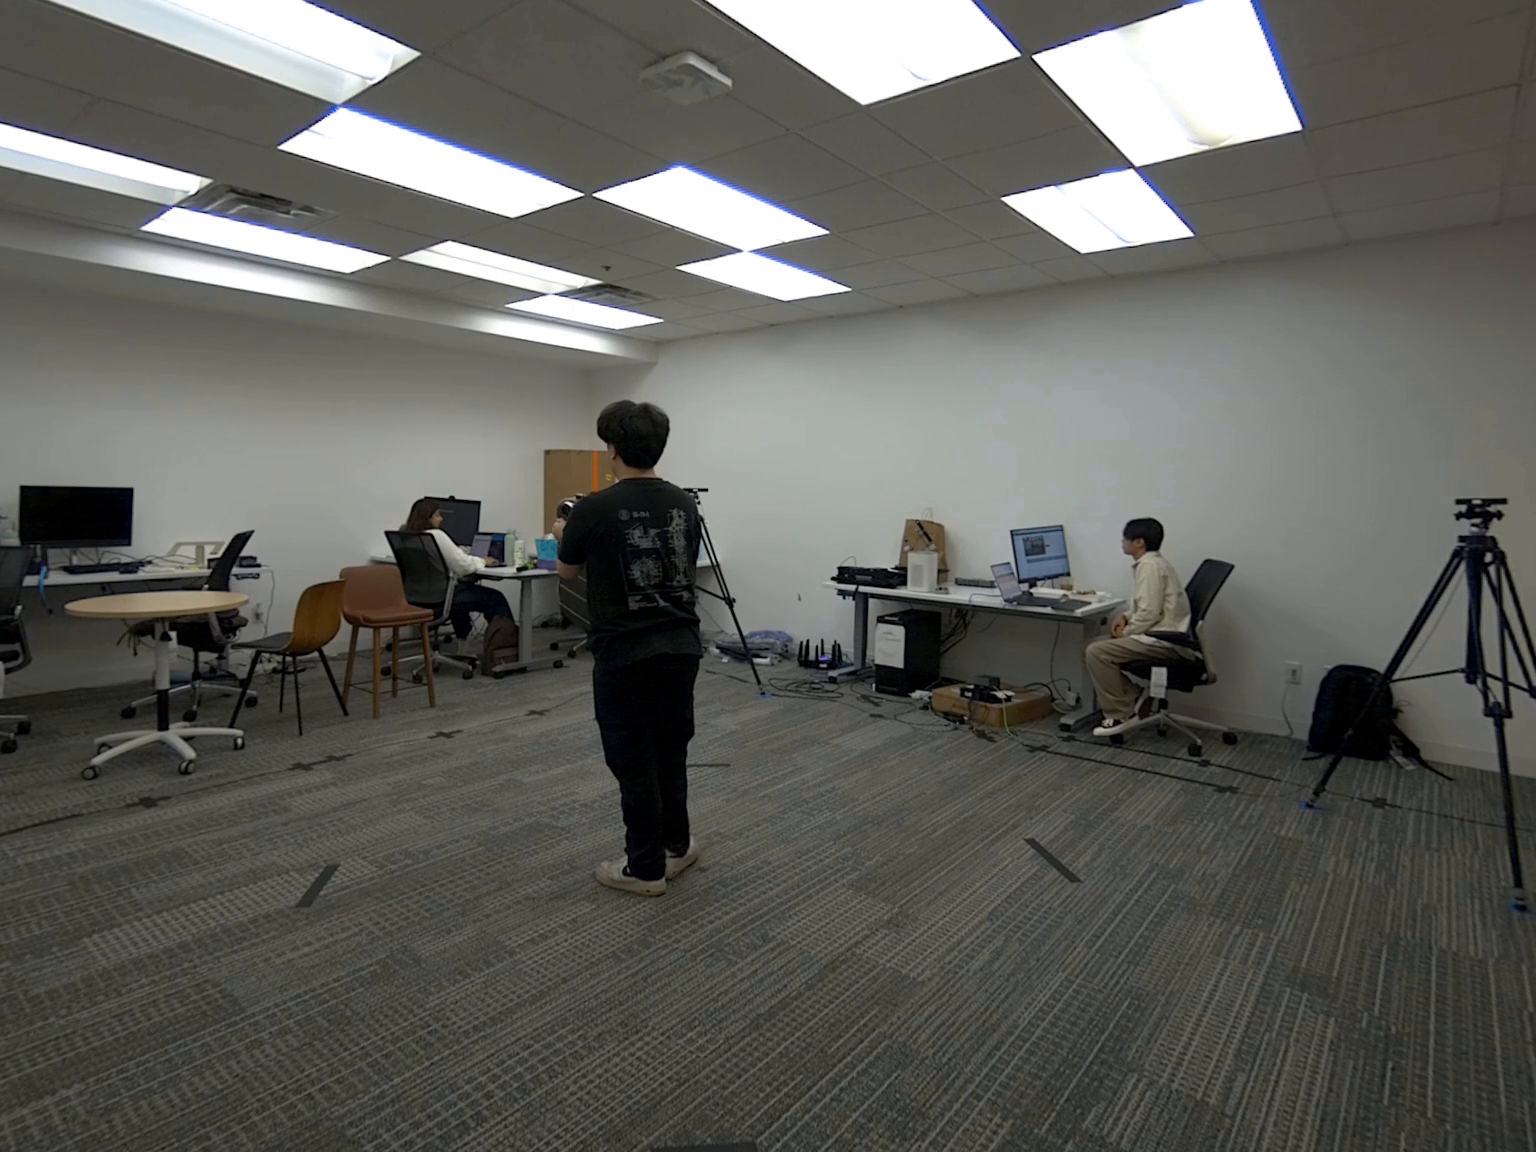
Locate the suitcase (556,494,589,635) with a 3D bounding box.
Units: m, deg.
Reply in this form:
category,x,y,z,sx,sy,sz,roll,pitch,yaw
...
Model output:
category,x,y,z,sx,sy,sz,roll,pitch,yaw
suitcase,-0.668,-0.039,3.303,0.242,0.542,0.390,-10,17,-36
